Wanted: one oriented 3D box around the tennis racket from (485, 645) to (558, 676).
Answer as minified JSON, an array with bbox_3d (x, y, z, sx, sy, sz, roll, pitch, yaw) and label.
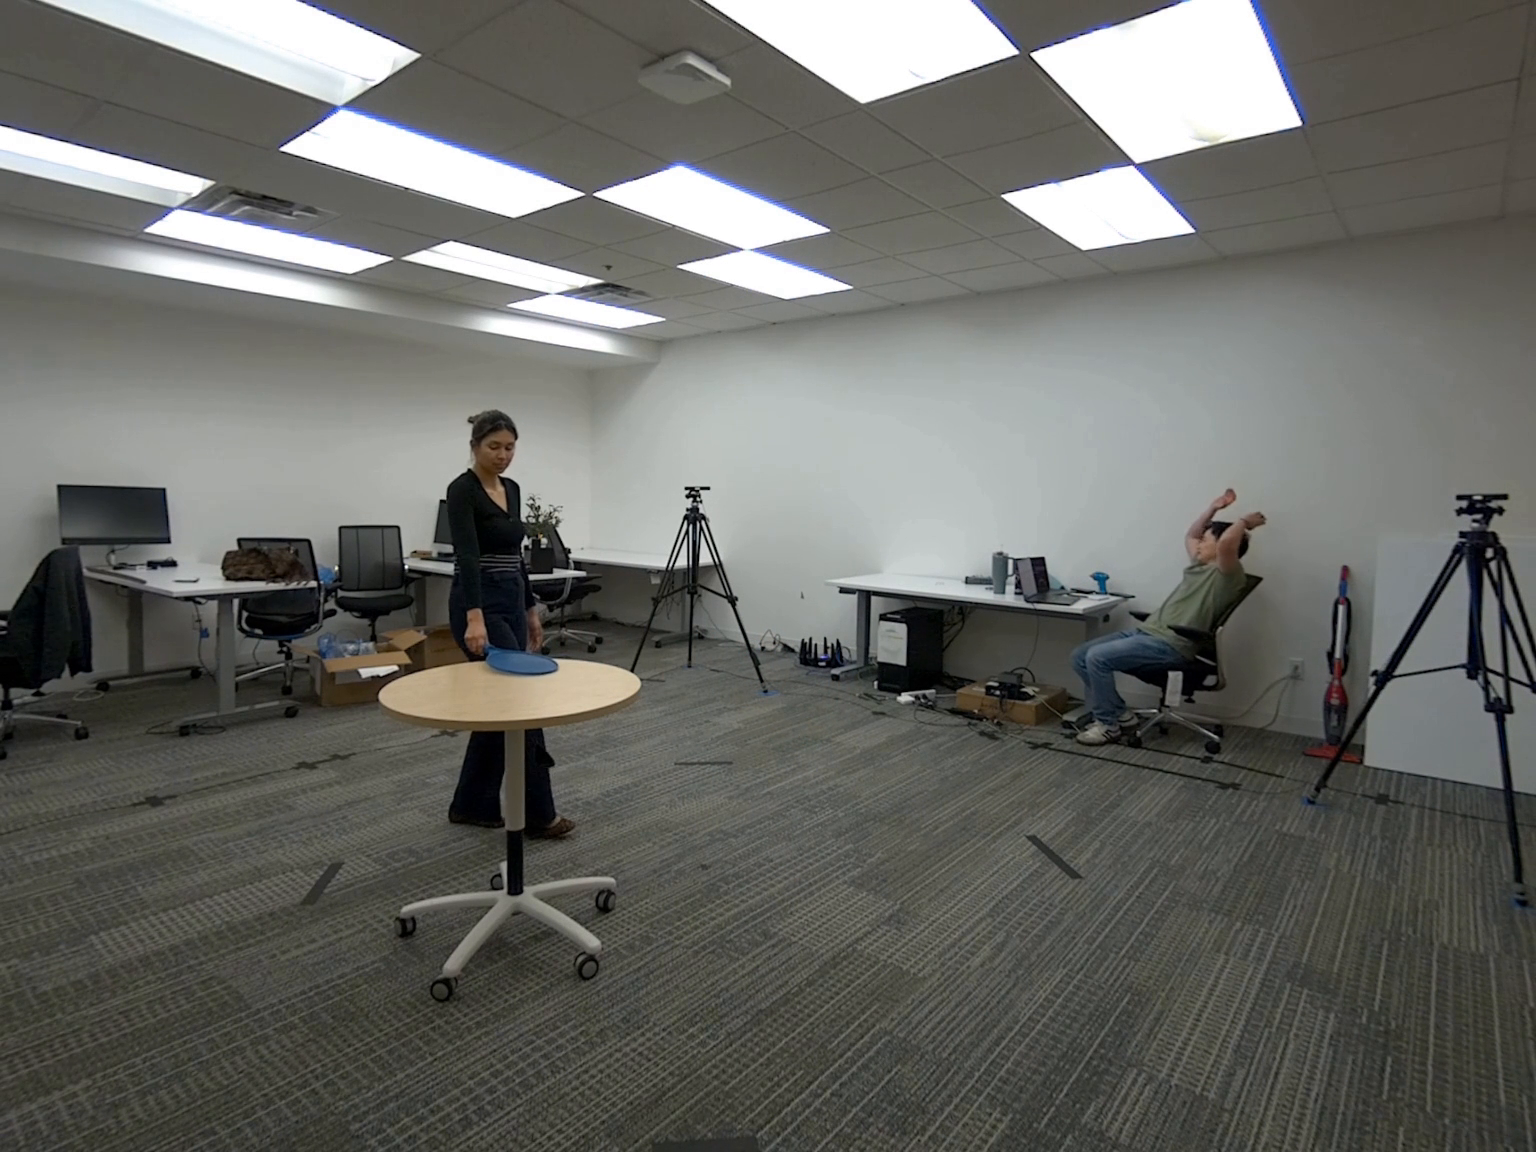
[{"bbox_3d":[-0.882,0.272,2.861,0.449,0.031,0.207,13,12,41],"label":"tennis racket"}]
